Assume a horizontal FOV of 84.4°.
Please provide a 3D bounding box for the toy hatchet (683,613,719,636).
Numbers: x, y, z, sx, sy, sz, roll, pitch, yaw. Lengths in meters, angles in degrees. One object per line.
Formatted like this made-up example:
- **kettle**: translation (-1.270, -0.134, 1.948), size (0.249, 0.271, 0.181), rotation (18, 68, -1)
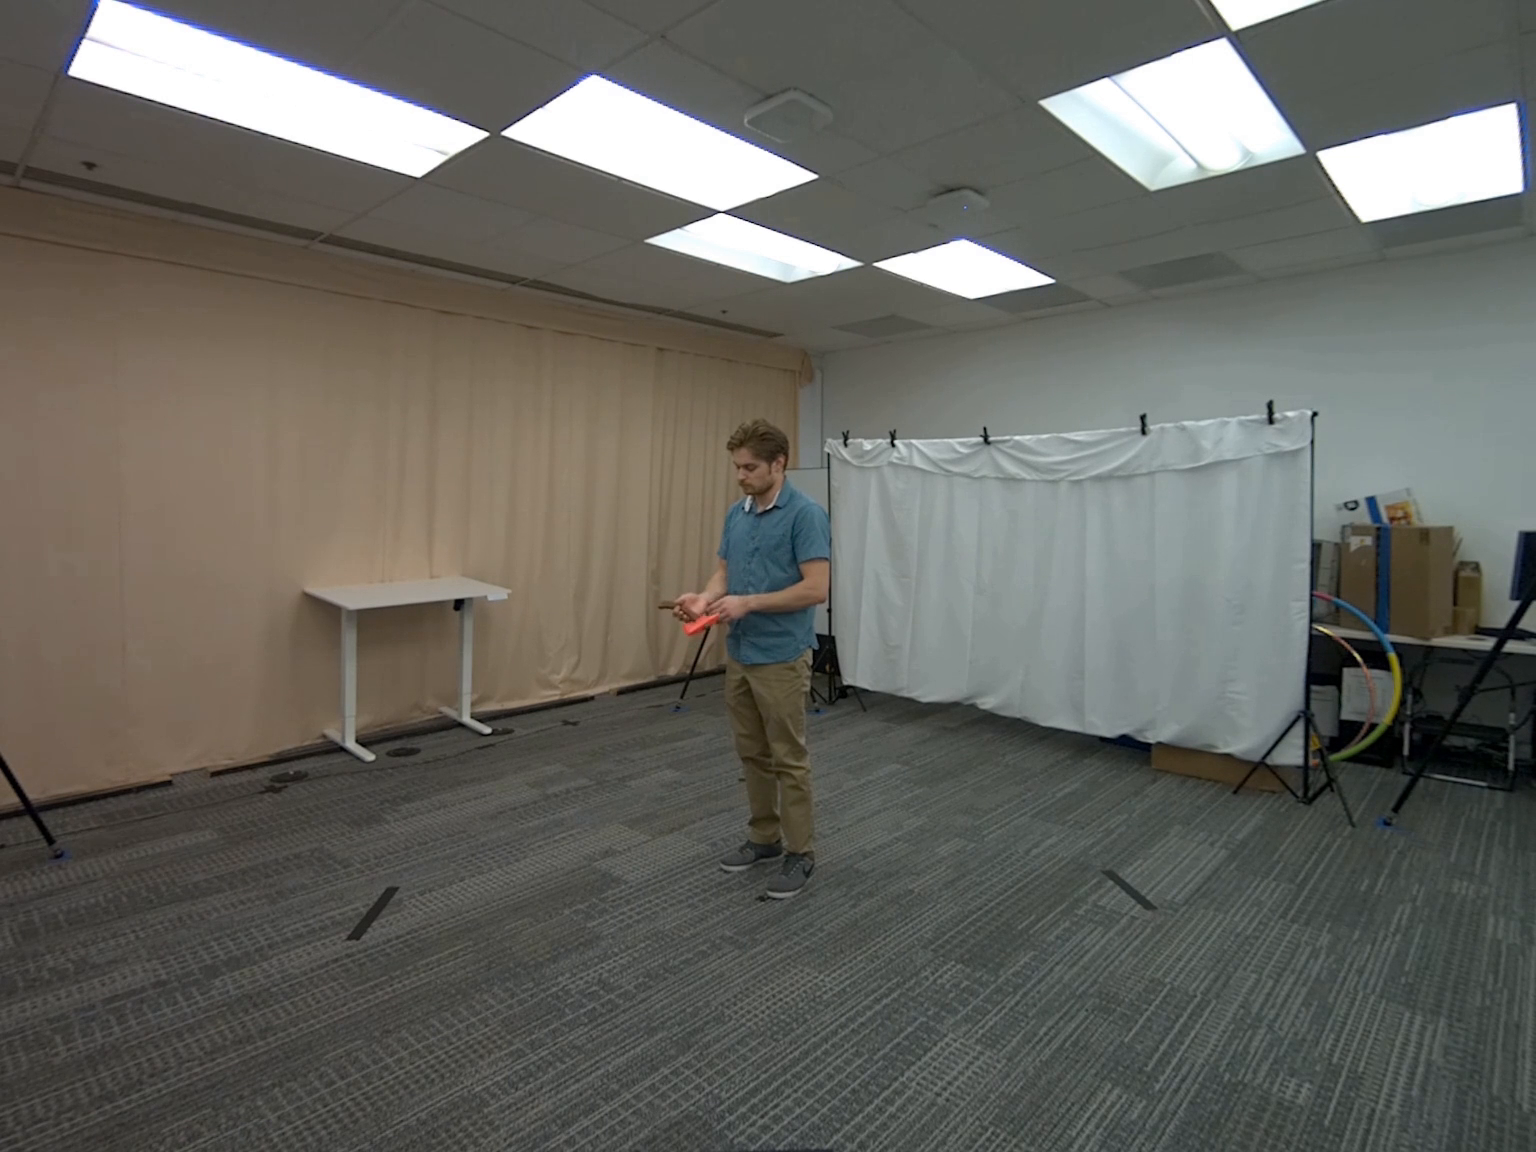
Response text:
- **toy hatchet**: translation (-0.296, 0.147, 2.897), size (0.279, 0.029, 0.130), rotation (11, 44, 38)
